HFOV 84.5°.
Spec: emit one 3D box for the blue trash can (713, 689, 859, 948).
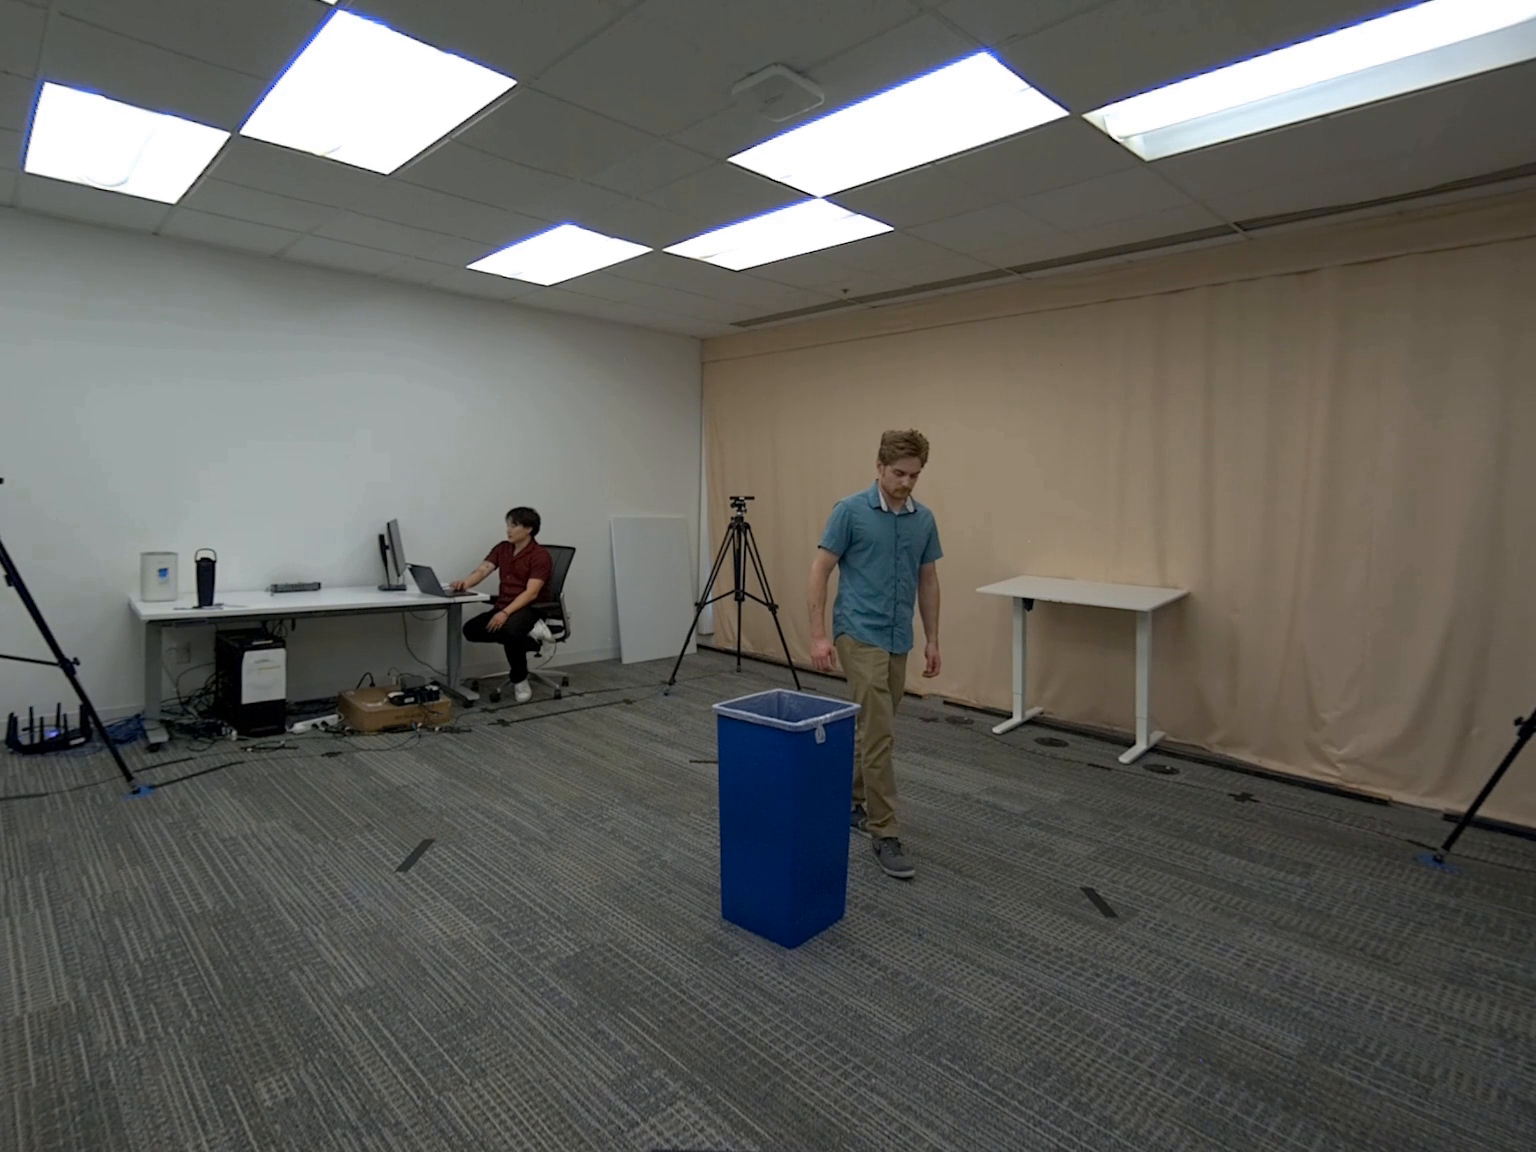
[{"bbox_3d":[0.042,0.780,2.788,0.383,0.712,0.369,4,4,40],"label":"blue trash can"}]
